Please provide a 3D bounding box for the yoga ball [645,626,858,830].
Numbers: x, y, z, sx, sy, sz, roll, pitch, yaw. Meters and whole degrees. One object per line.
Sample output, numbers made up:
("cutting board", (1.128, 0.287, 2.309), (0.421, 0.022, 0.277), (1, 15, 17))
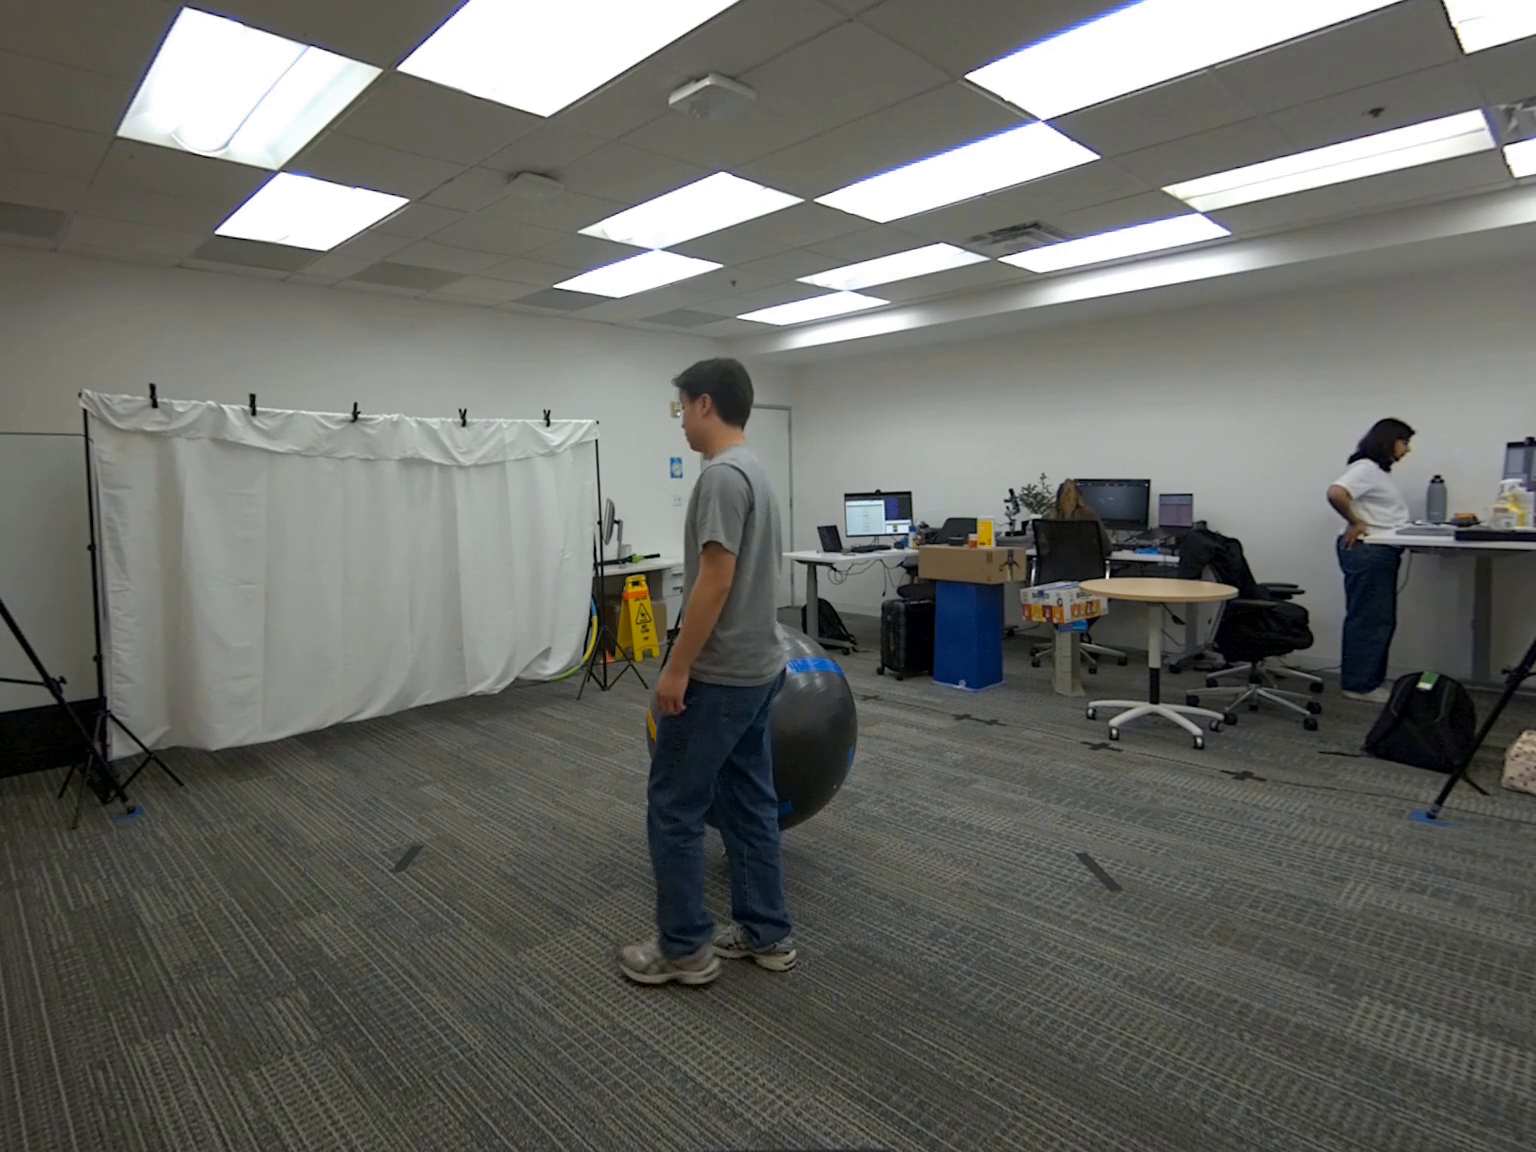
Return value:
("yoga ball", (-0.058, 0.541, 3.094), (0.757, 0.755, 0.762), (-1, 5, -2))
